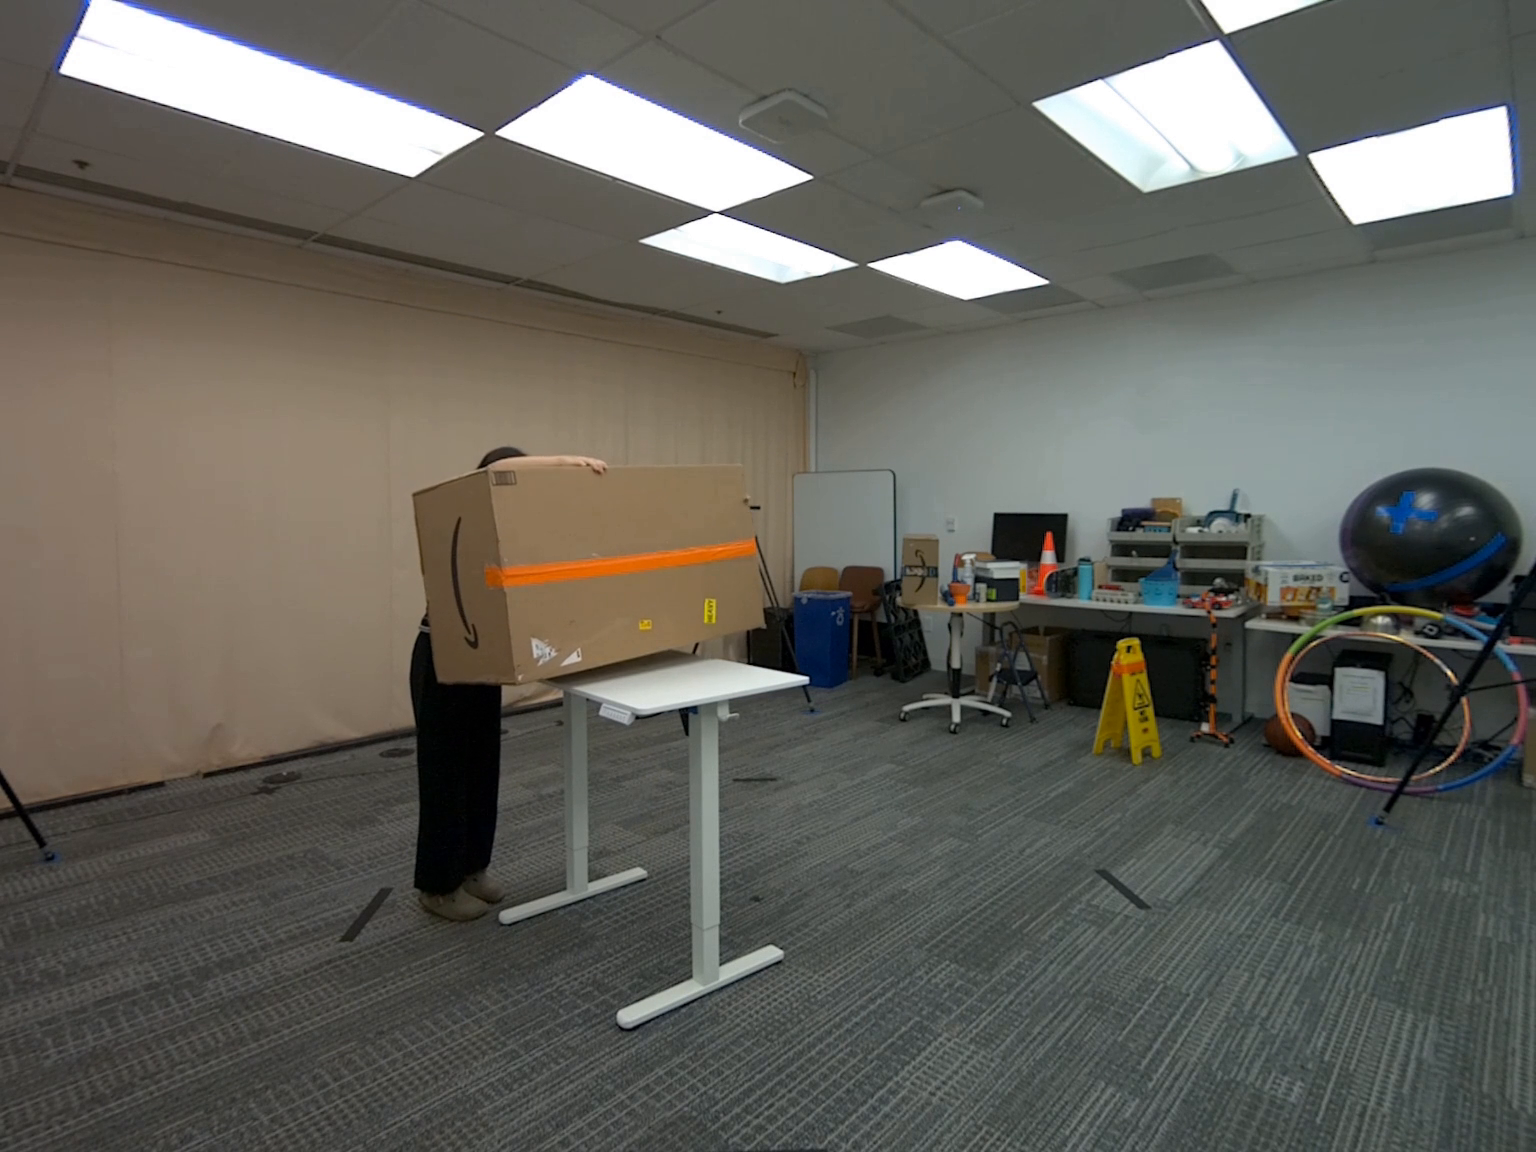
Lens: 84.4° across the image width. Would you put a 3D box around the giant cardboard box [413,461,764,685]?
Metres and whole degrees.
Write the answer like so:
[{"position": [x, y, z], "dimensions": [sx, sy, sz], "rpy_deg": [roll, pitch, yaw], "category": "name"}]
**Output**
[{"position": [-0.524, -0.036, 2.707], "dimensions": [0.439, 0.577, 0.996], "rpy_deg": [-7, 1, 42], "category": "giant cardboard box"}]
